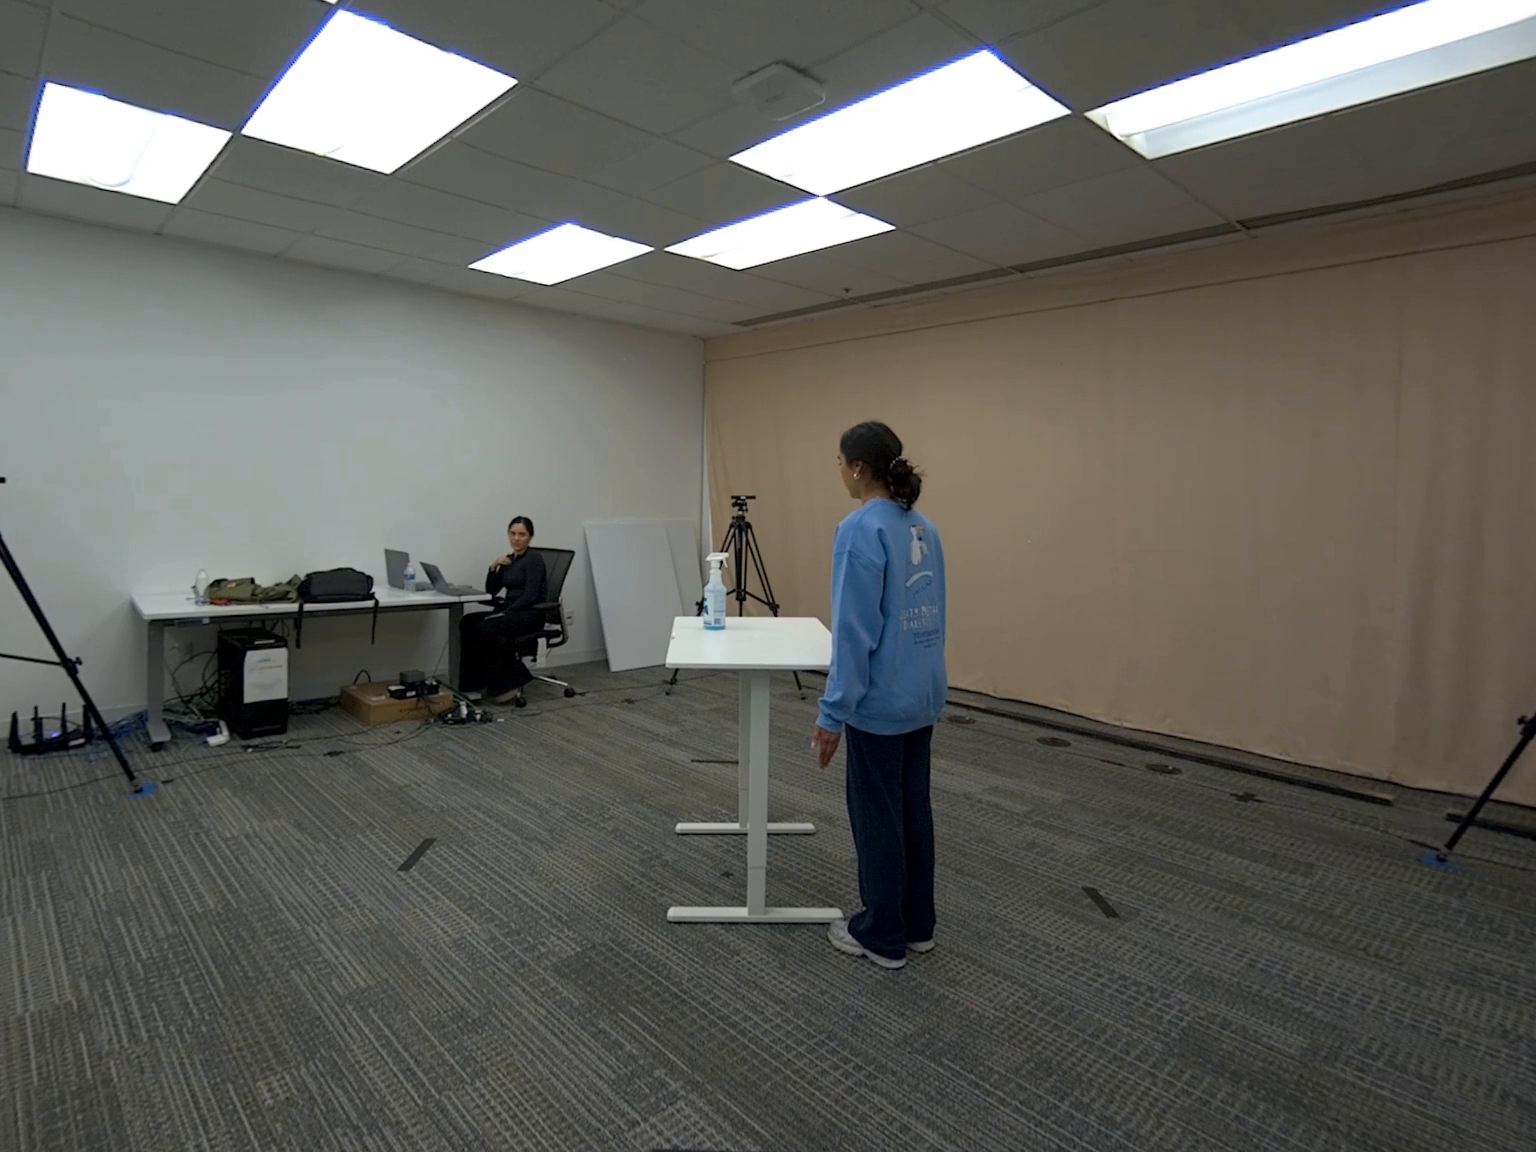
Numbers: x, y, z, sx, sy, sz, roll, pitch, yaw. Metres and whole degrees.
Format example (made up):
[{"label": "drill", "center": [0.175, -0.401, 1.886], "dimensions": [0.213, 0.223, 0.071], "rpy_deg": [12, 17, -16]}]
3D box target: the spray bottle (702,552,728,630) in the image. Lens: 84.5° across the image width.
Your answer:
[{"label": "spray bottle", "center": [-0.213, 0.060, 3.268], "dimensions": [0.092, 0.297, 0.085], "rpy_deg": [3, 3, 43]}]
